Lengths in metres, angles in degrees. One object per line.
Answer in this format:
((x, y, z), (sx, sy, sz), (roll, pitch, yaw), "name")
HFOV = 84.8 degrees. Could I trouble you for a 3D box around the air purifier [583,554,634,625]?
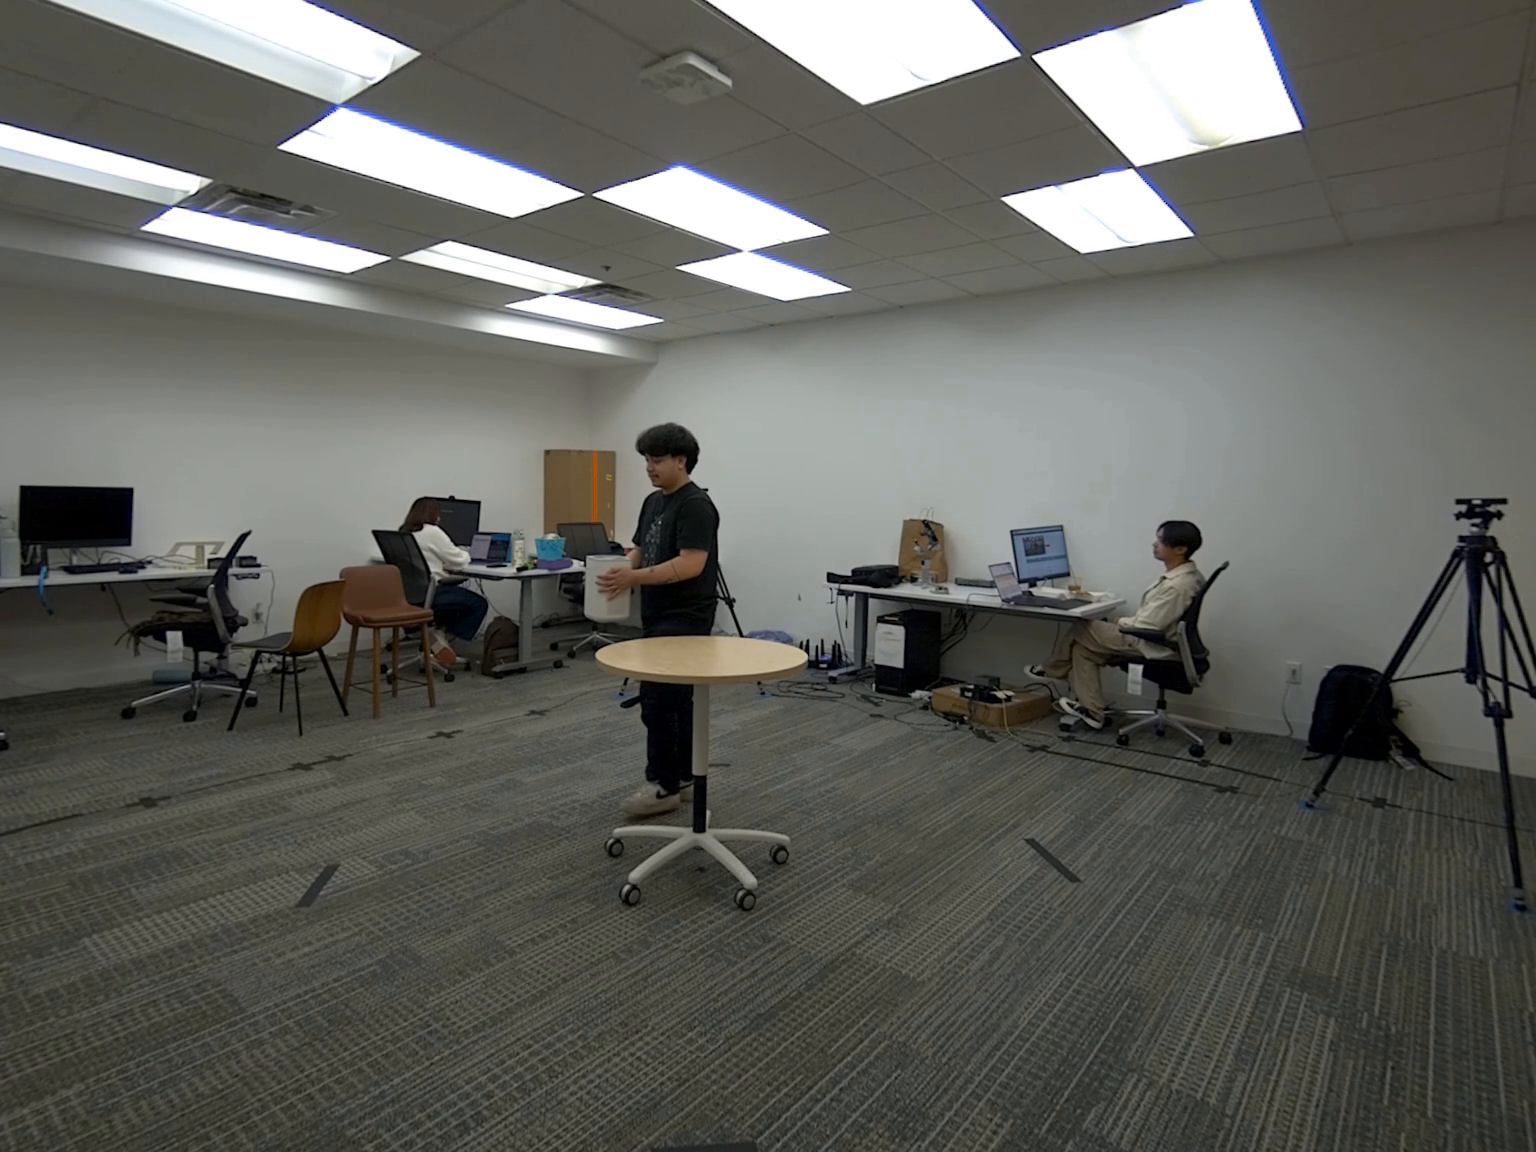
((-0.692, 0.050, 3.613), (0.166, 0.264, 0.177), (0, 5, -38), "air purifier")
